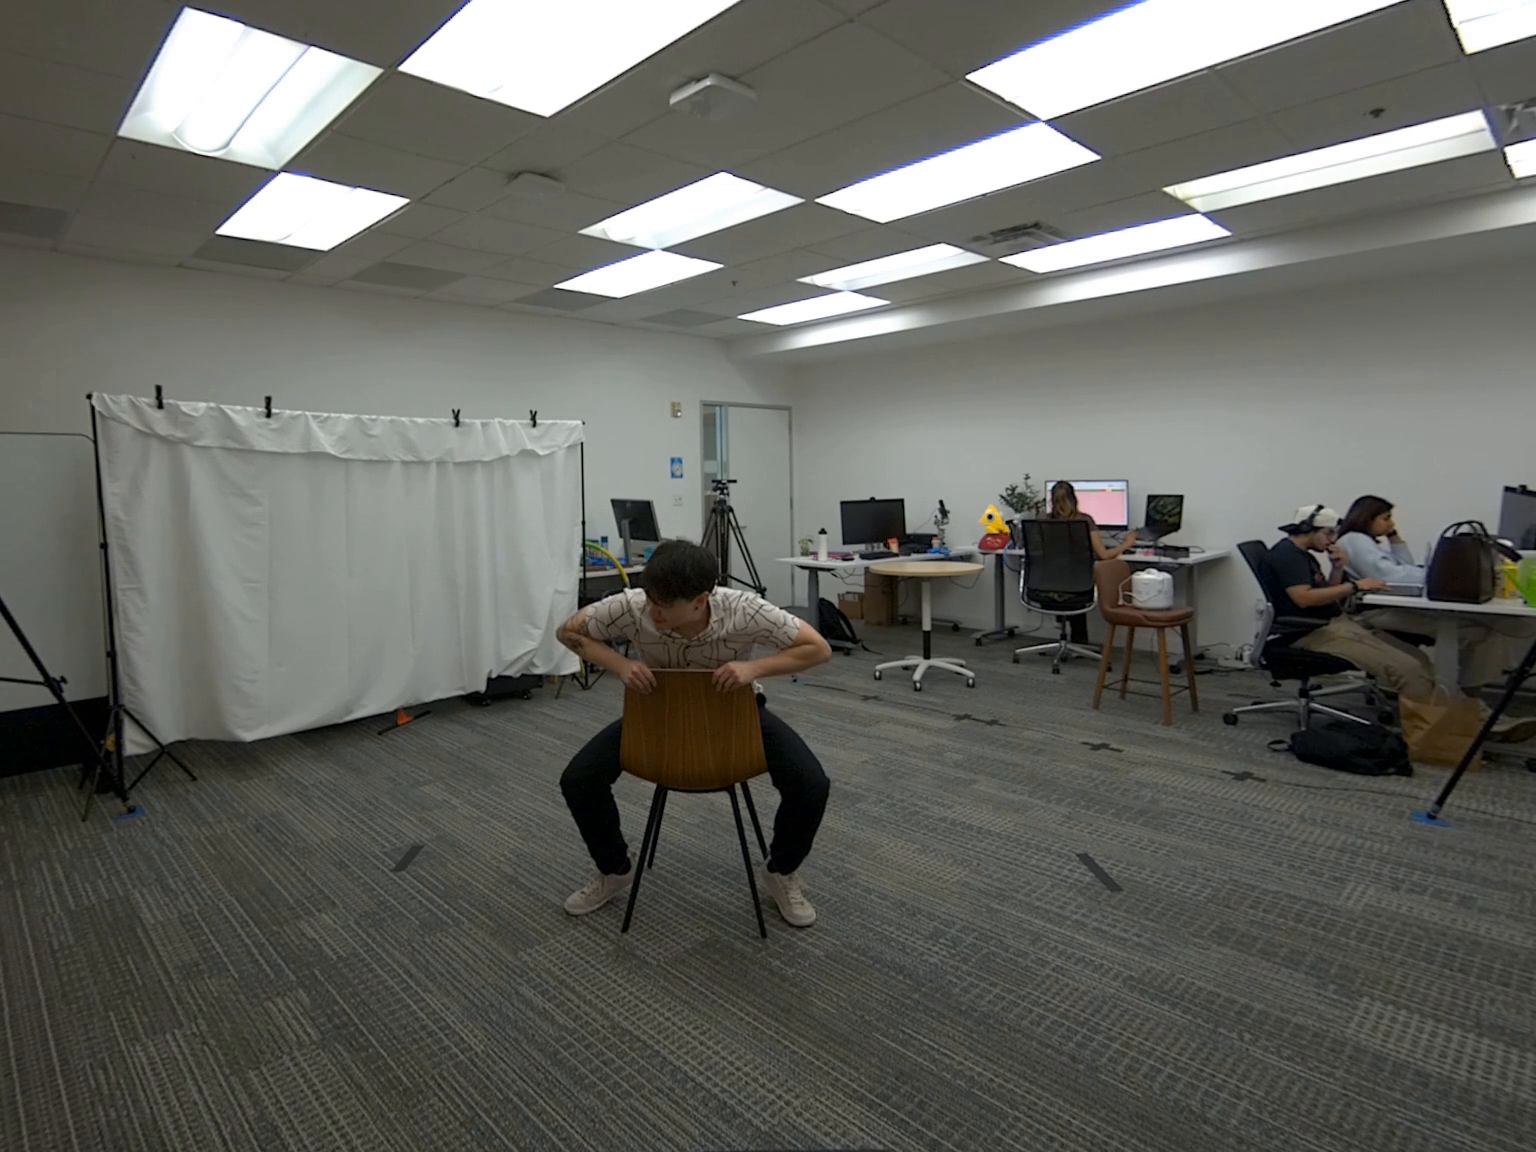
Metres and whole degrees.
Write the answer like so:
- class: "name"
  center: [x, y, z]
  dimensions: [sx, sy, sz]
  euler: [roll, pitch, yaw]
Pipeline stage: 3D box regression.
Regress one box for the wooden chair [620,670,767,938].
- class: "wooden chair"
  center: [-0.228, 0.669, 2.829]
  dimensions: [0.480, 0.869, 0.526]
  euler: [0, 11, 3]
